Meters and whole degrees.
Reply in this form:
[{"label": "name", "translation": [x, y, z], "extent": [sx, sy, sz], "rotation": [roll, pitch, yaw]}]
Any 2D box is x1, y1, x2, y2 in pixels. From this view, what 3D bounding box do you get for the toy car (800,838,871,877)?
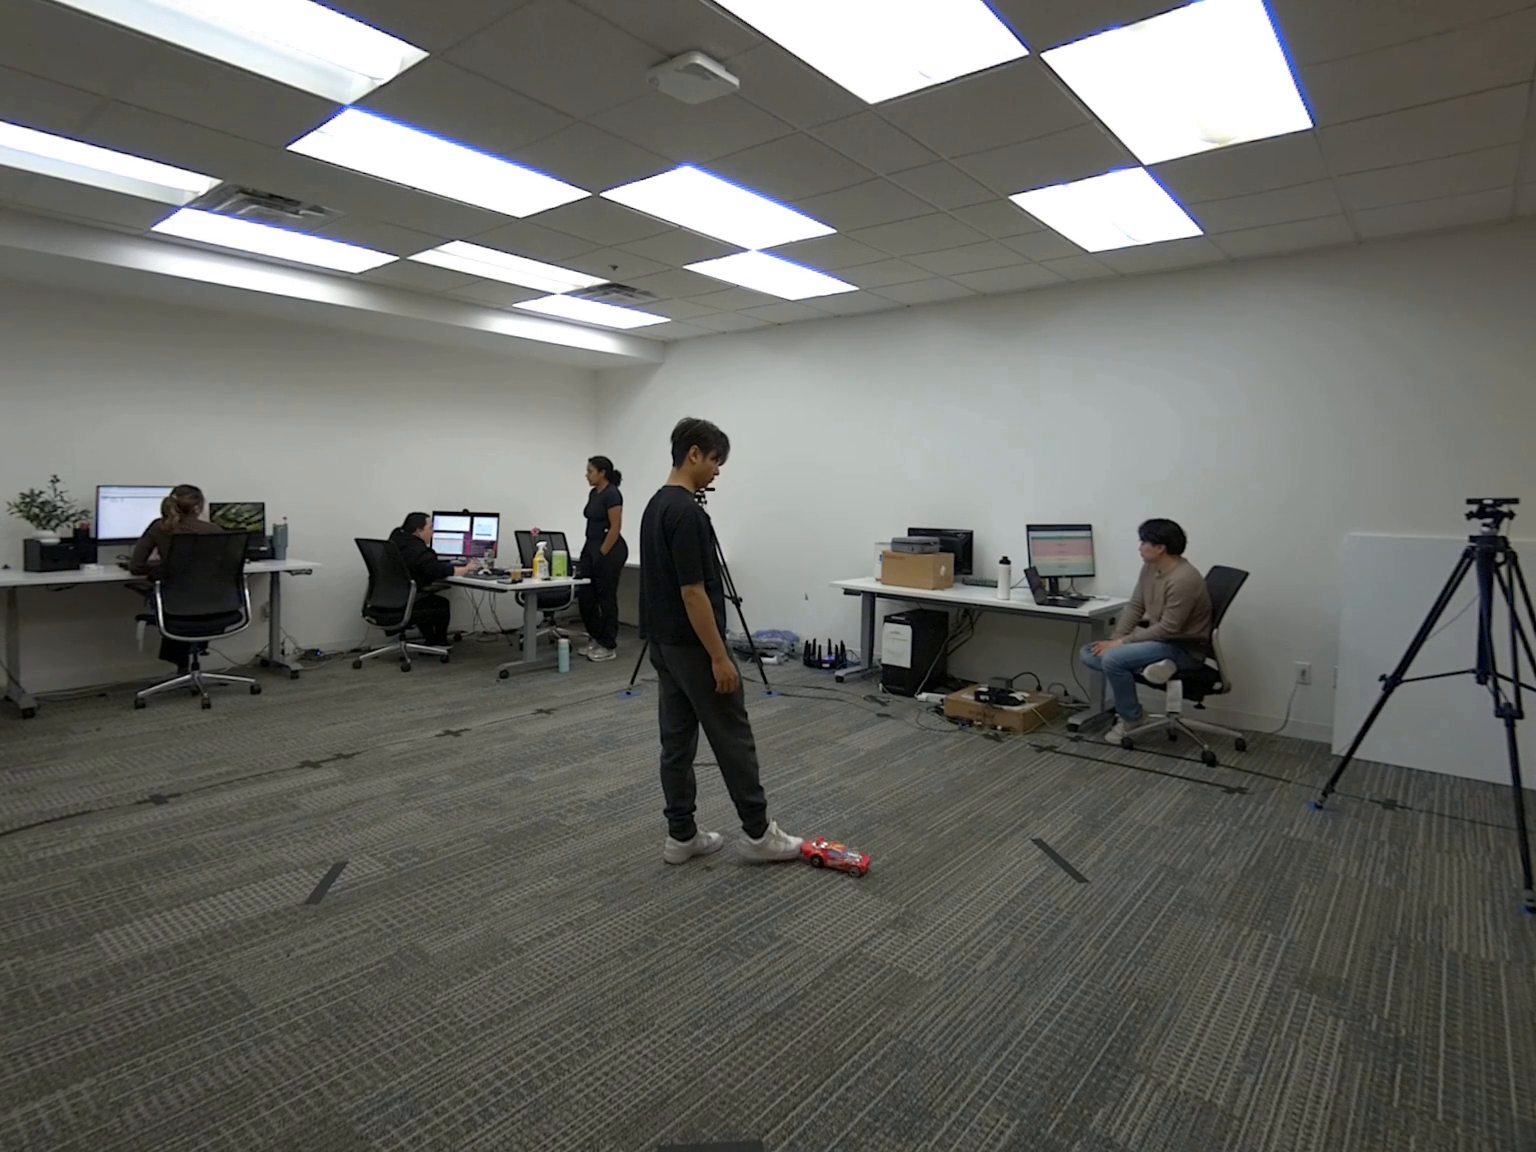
[{"label": "toy car", "translation": [0.240, 1.040, 3.158], "extent": [0.262, 0.082, 0.127], "rotation": [17, 11, 25]}]
